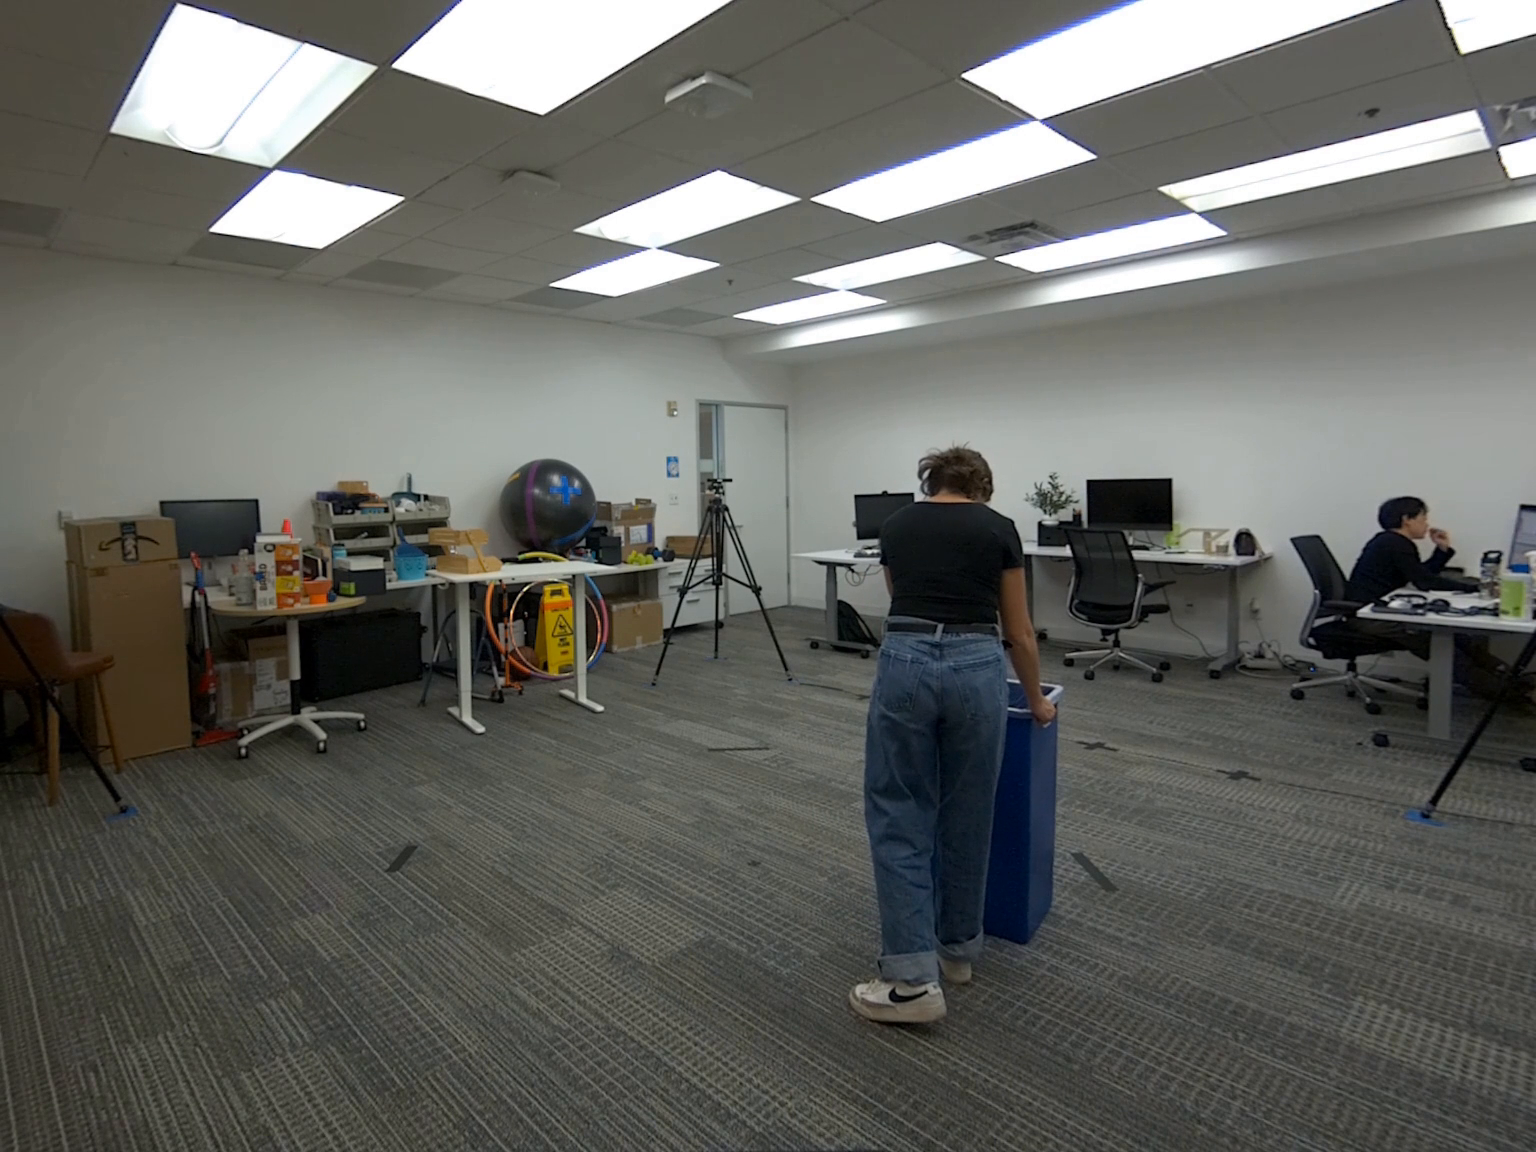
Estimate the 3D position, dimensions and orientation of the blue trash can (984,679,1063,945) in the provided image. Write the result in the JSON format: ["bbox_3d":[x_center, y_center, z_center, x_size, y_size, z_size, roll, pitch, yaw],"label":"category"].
[{"bbox_3d":[0.712,0.718,2.717,0.384,0.711,0.369,2,5,34],"label":"blue trash can"}]
